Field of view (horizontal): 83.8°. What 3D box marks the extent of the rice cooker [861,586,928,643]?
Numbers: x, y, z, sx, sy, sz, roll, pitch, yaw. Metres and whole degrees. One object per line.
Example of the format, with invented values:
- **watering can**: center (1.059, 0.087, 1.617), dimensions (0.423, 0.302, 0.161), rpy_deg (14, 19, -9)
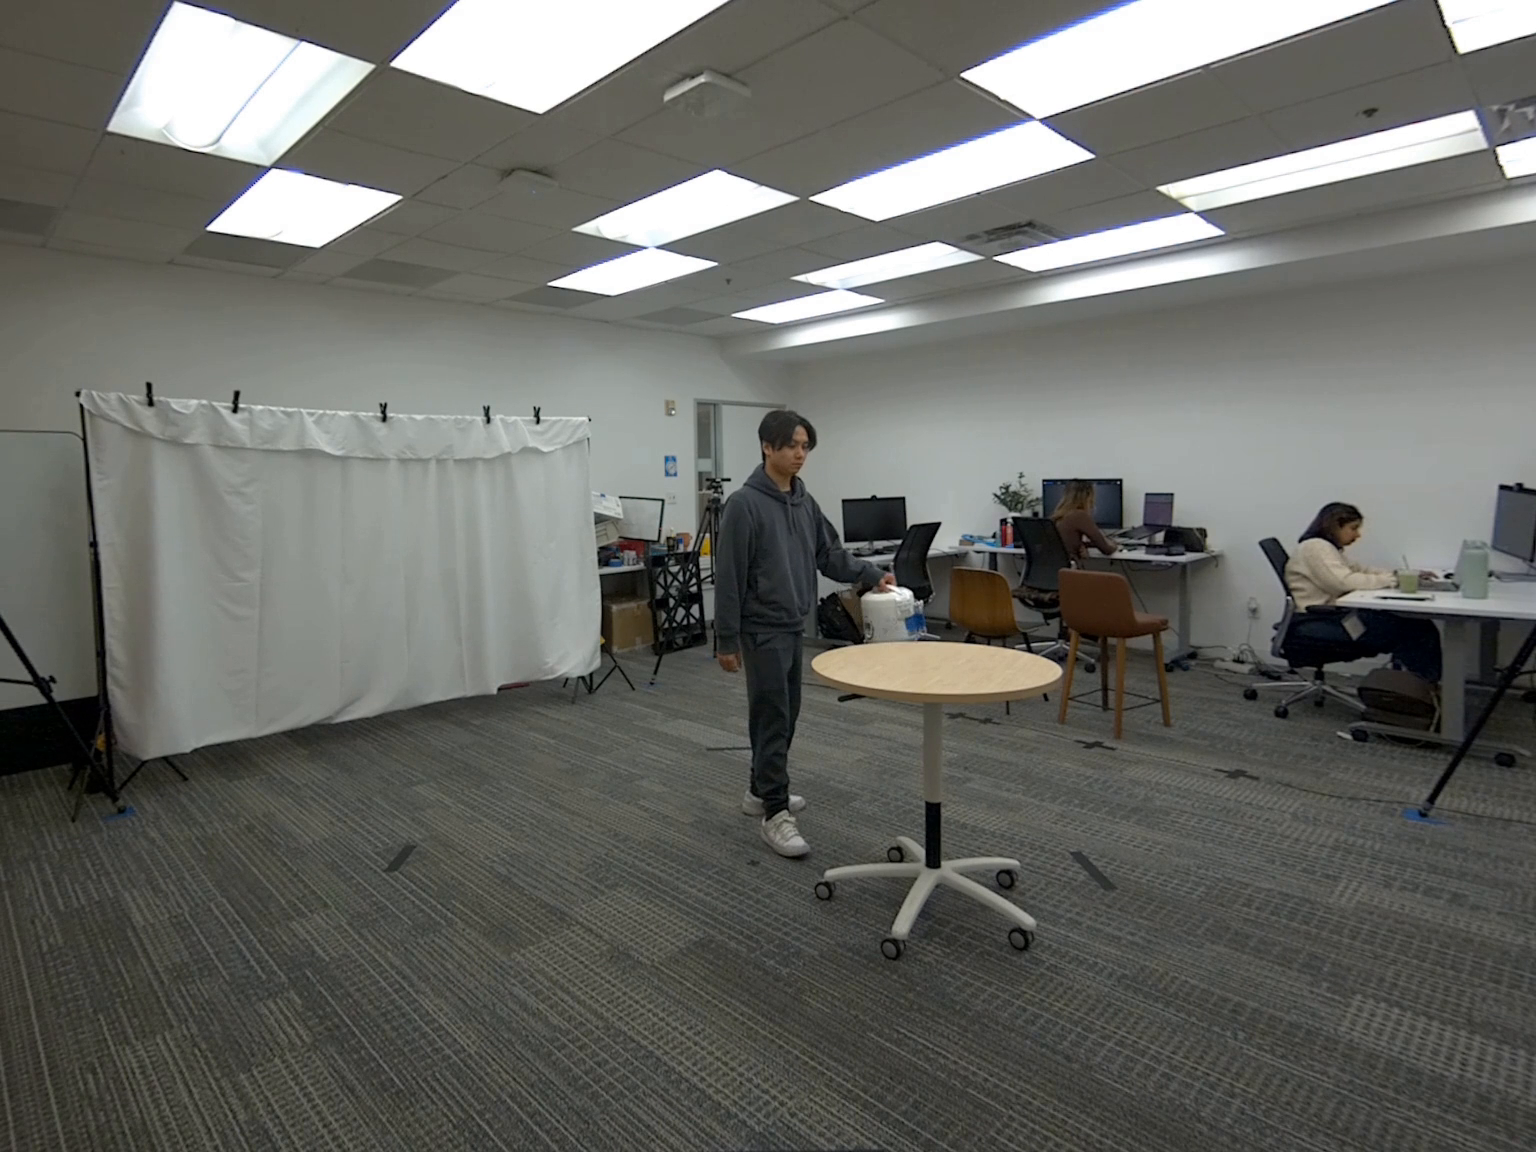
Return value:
- **rice cooker**: center (0.477, 0.148, 3.375), dimensions (0.213, 0.232, 0.225), rpy_deg (-9, 4, -27)
